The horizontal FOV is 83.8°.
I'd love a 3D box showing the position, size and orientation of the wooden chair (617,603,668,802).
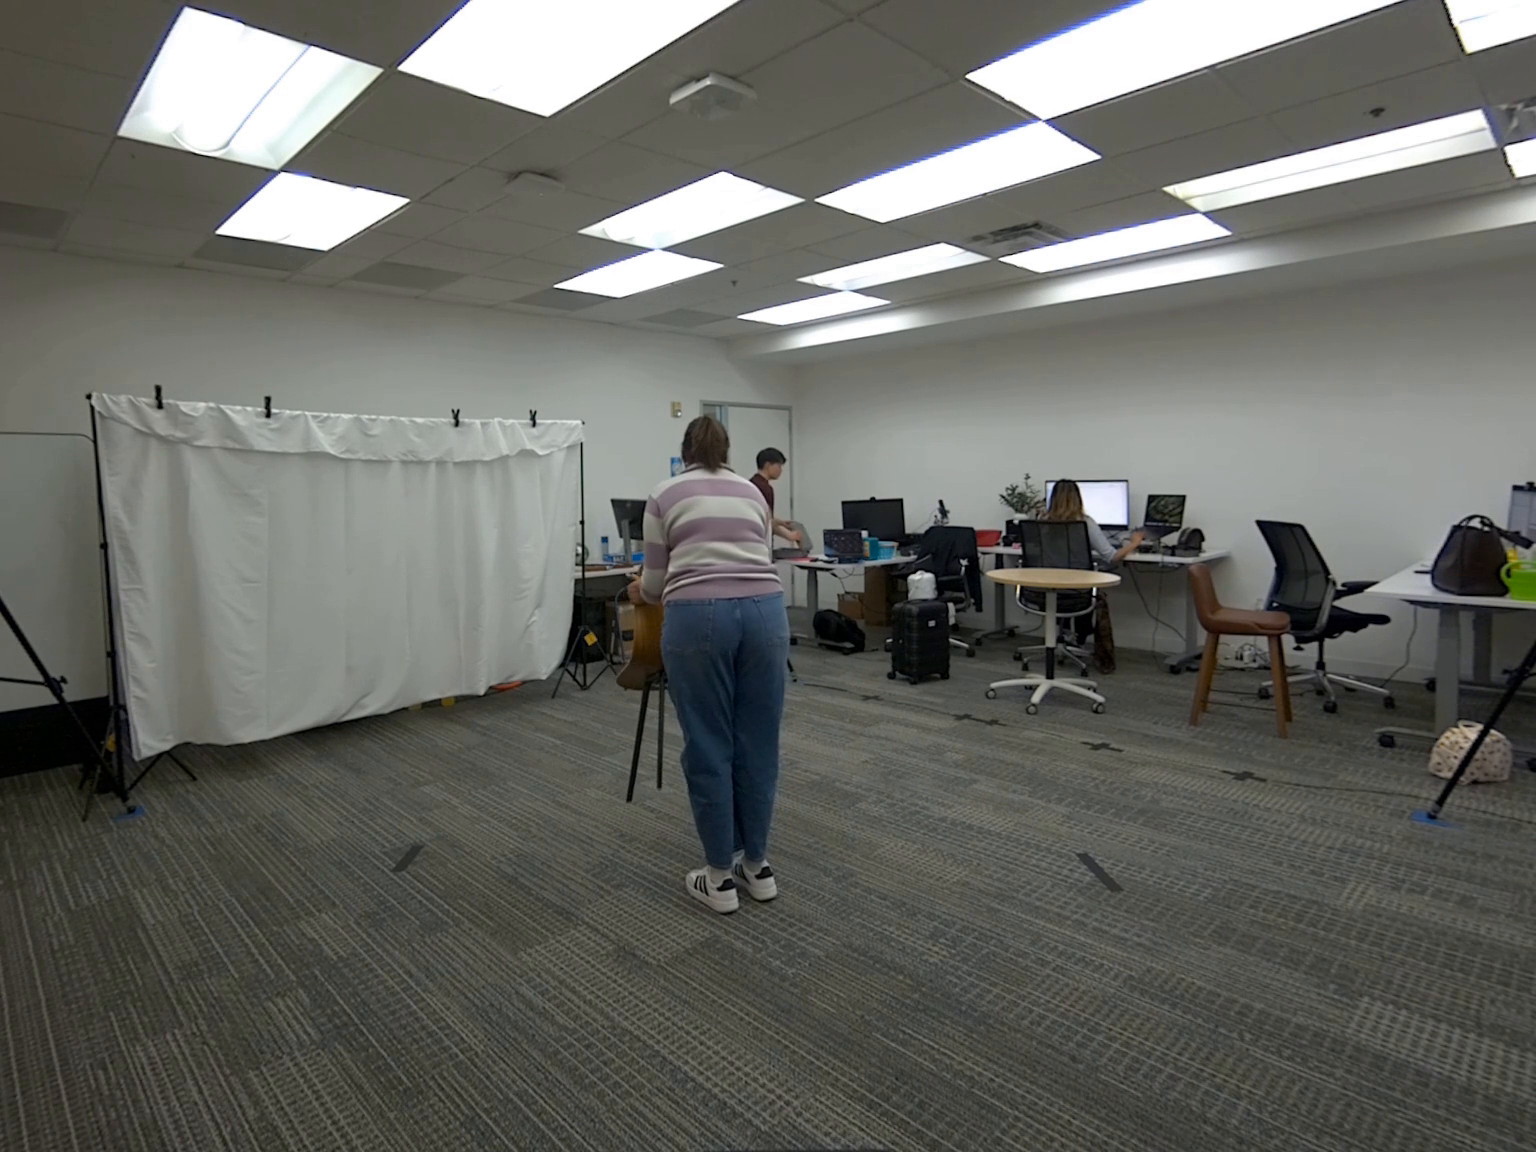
[{"bbox_3d":[-0.331,0.393,3.339,0.469,0.892,0.525,-2,-17,-23],"label":"wooden chair"}]
